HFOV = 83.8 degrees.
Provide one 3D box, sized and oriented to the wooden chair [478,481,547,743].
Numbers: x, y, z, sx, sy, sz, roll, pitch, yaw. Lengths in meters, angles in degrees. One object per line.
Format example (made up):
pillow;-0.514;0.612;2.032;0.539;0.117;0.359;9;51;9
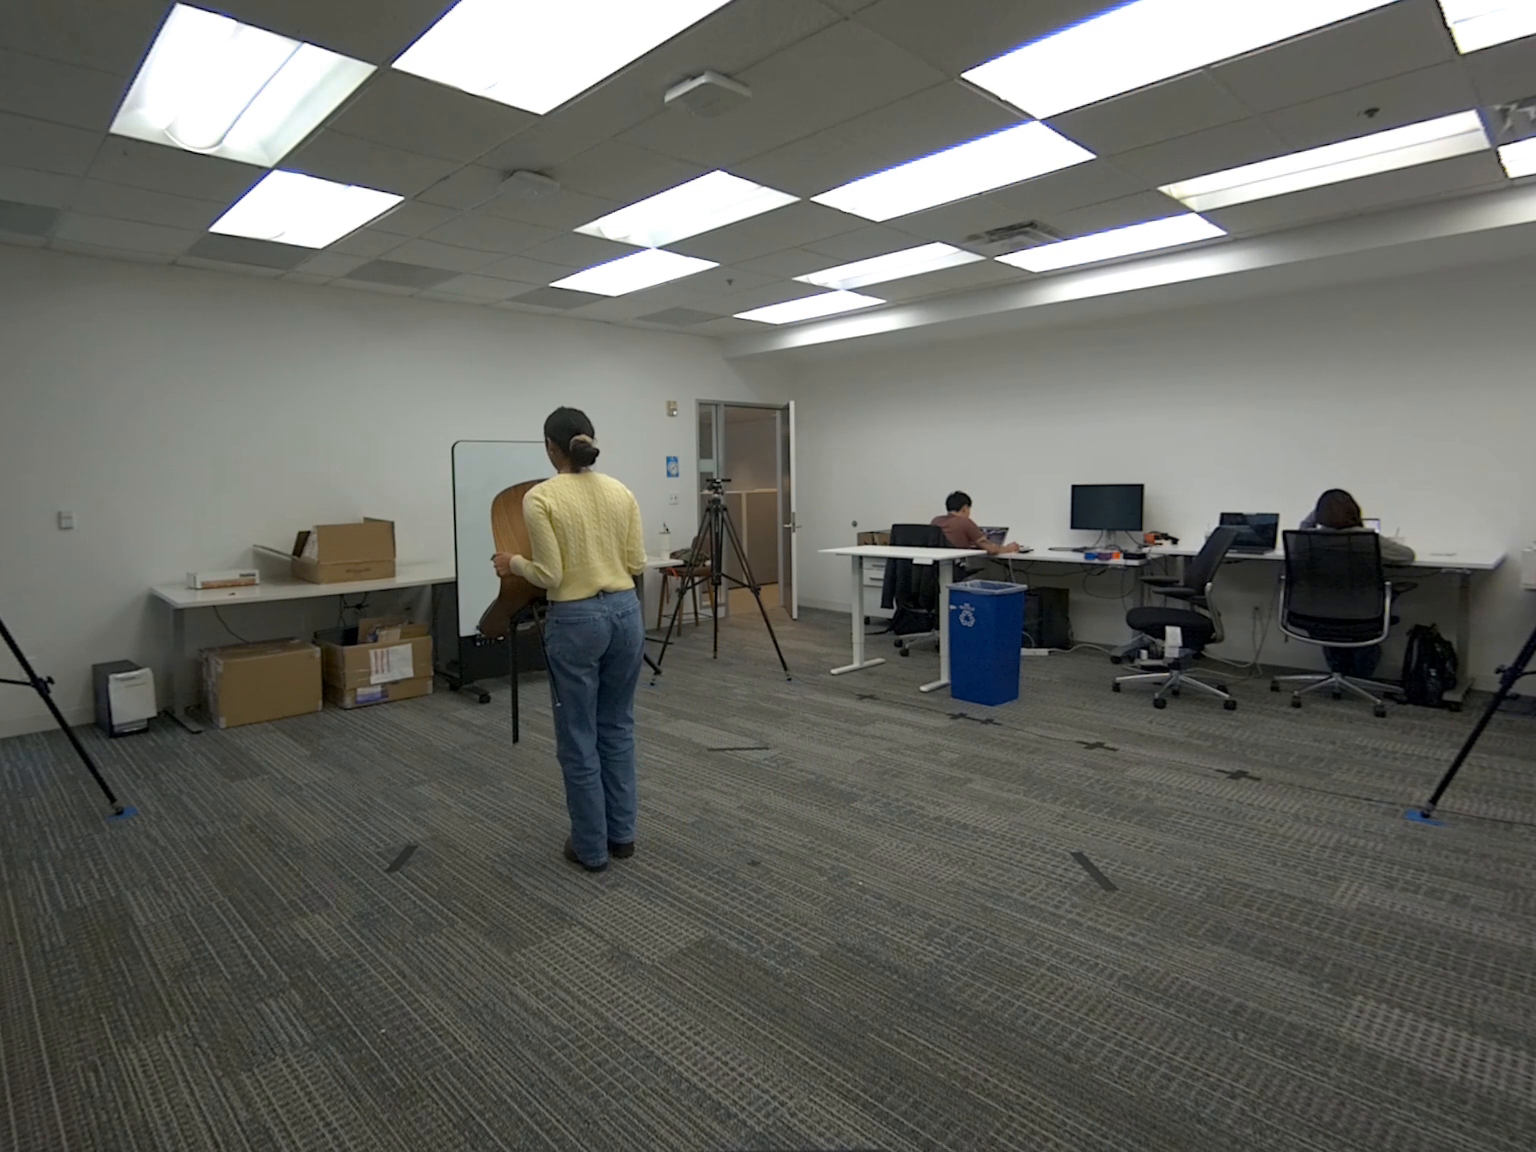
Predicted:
wooden chair;-0.853;0.130;3.329;0.467;0.891;0.527;-12;-16;-41
